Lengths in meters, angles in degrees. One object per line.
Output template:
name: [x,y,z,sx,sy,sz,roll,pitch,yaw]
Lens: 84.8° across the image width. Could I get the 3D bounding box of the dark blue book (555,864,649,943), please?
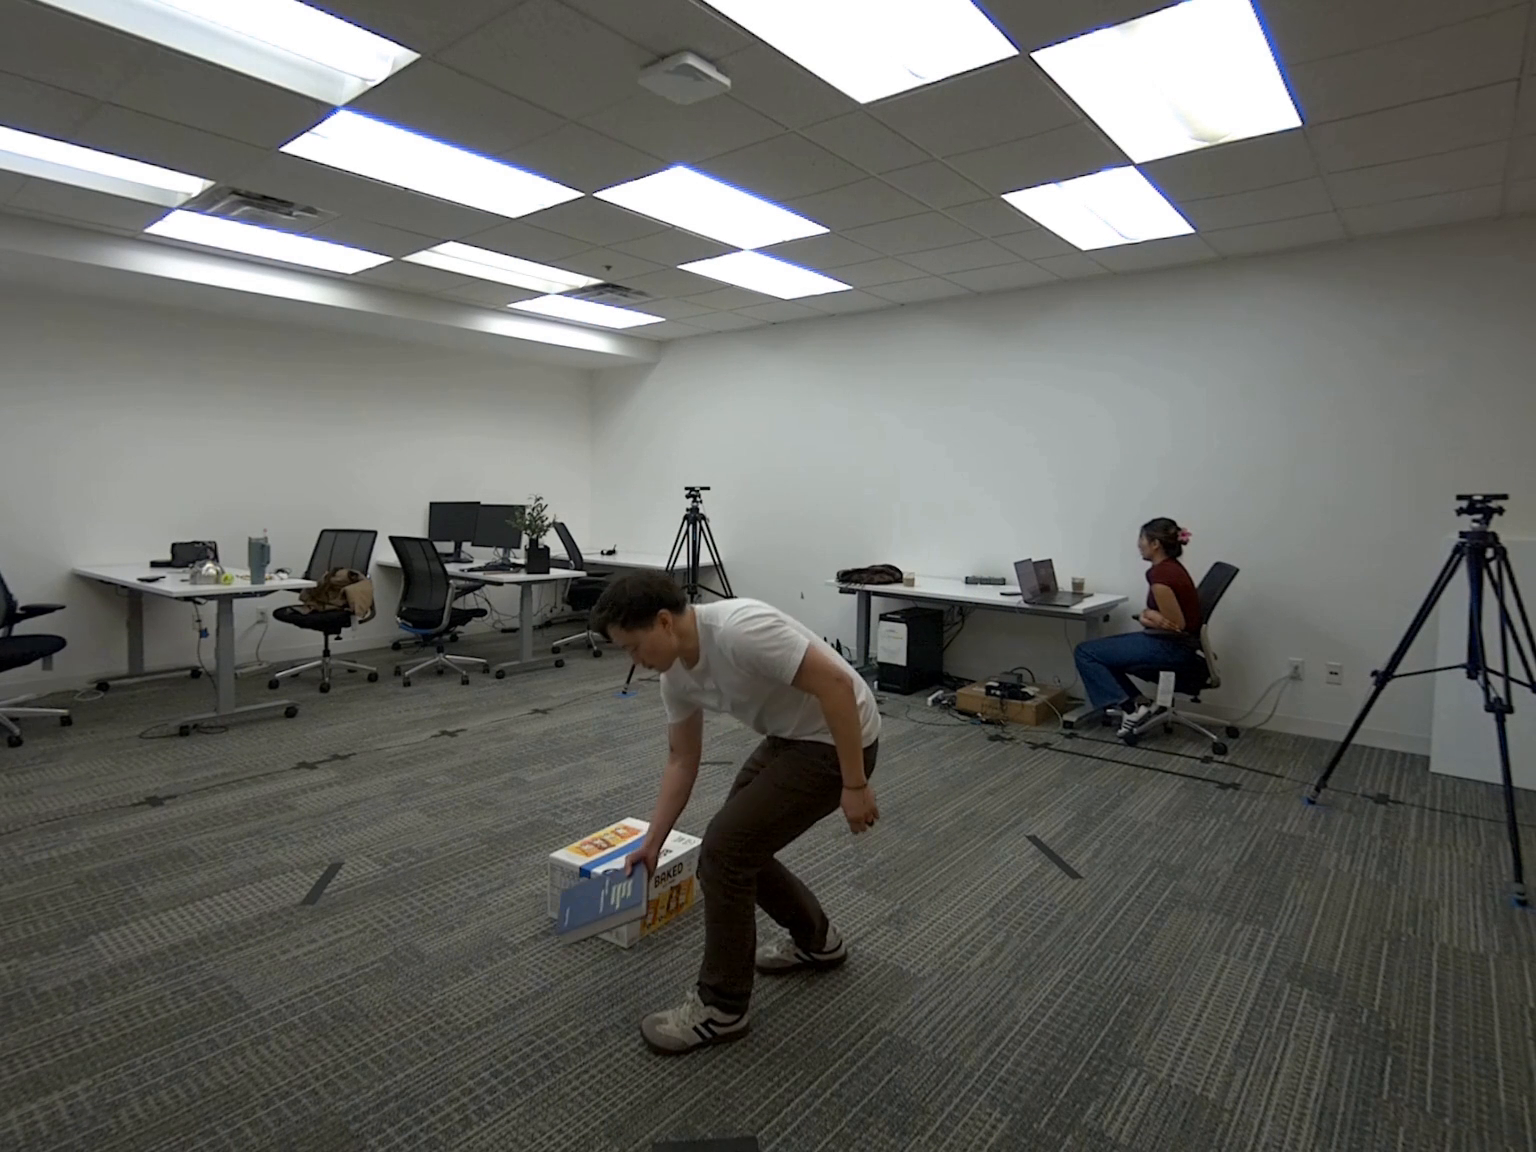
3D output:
dark blue book: [-0.445,0.856,2.251,0.246,0.044,0.166,-20,20,5]
